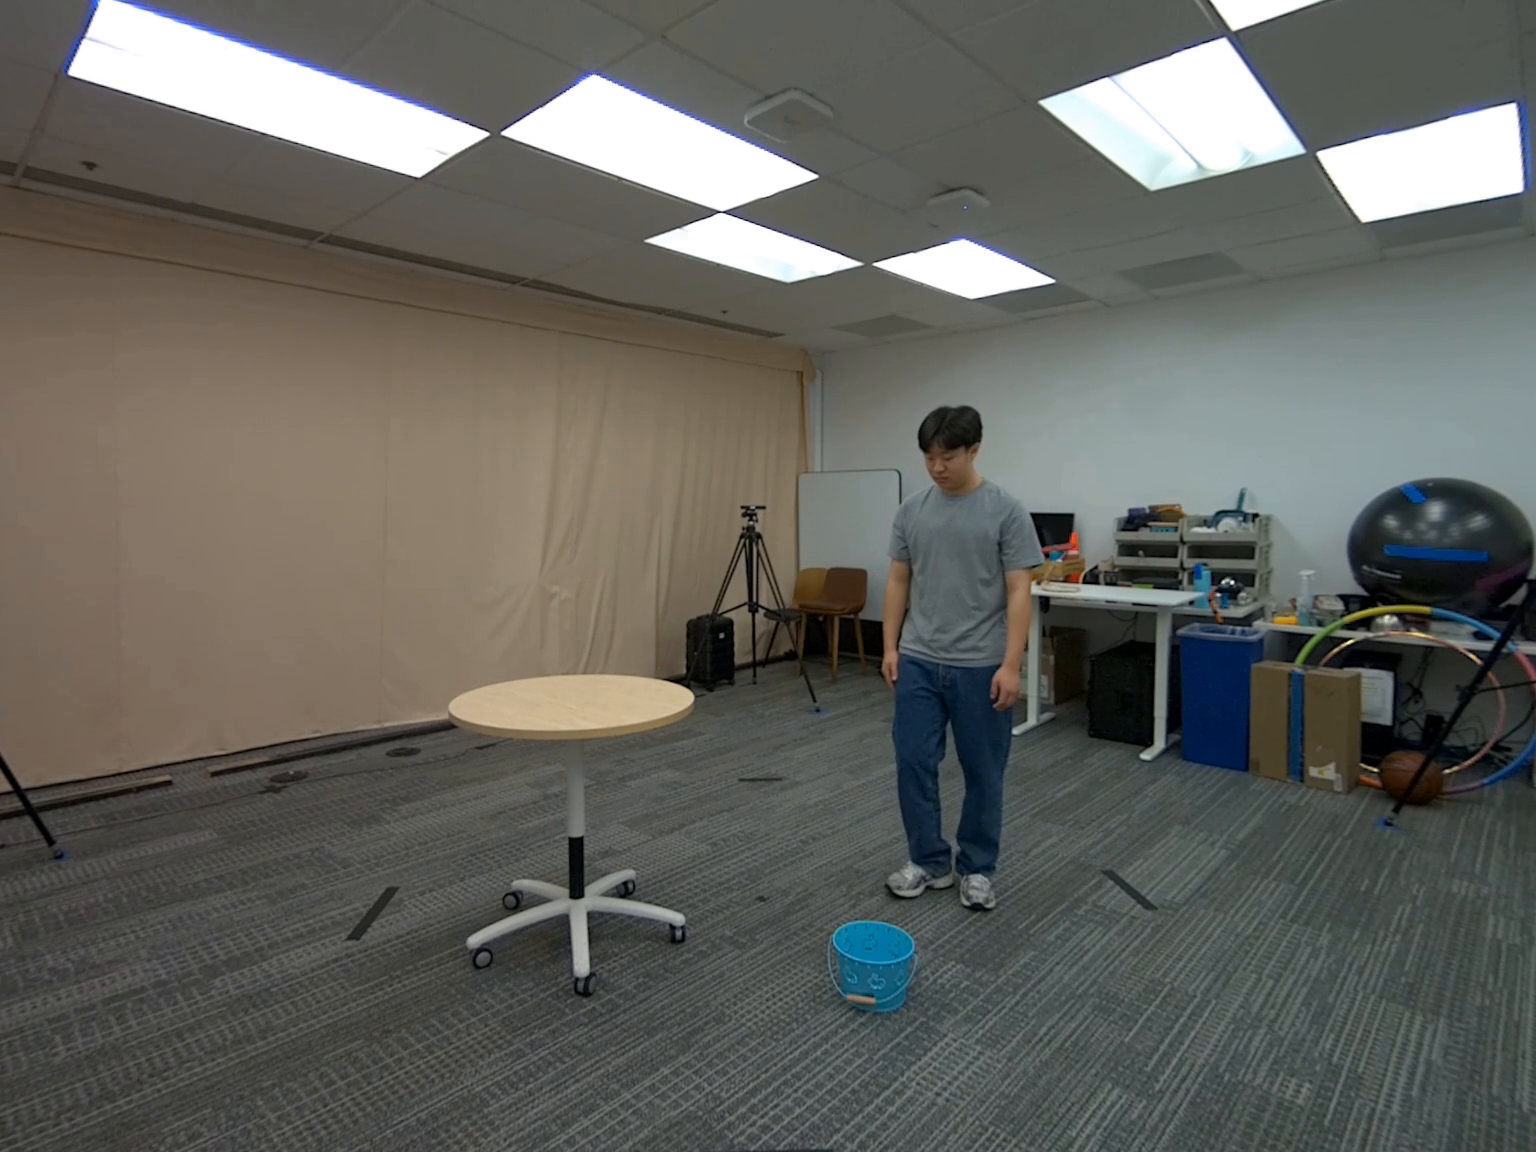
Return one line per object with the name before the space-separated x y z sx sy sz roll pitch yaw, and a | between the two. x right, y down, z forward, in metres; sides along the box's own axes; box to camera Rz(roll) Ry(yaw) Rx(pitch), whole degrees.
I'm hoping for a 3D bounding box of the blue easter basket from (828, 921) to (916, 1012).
blue easter basket | 0.300 1.115 2.394 0.243 0.155 0.244 1 4 -2
